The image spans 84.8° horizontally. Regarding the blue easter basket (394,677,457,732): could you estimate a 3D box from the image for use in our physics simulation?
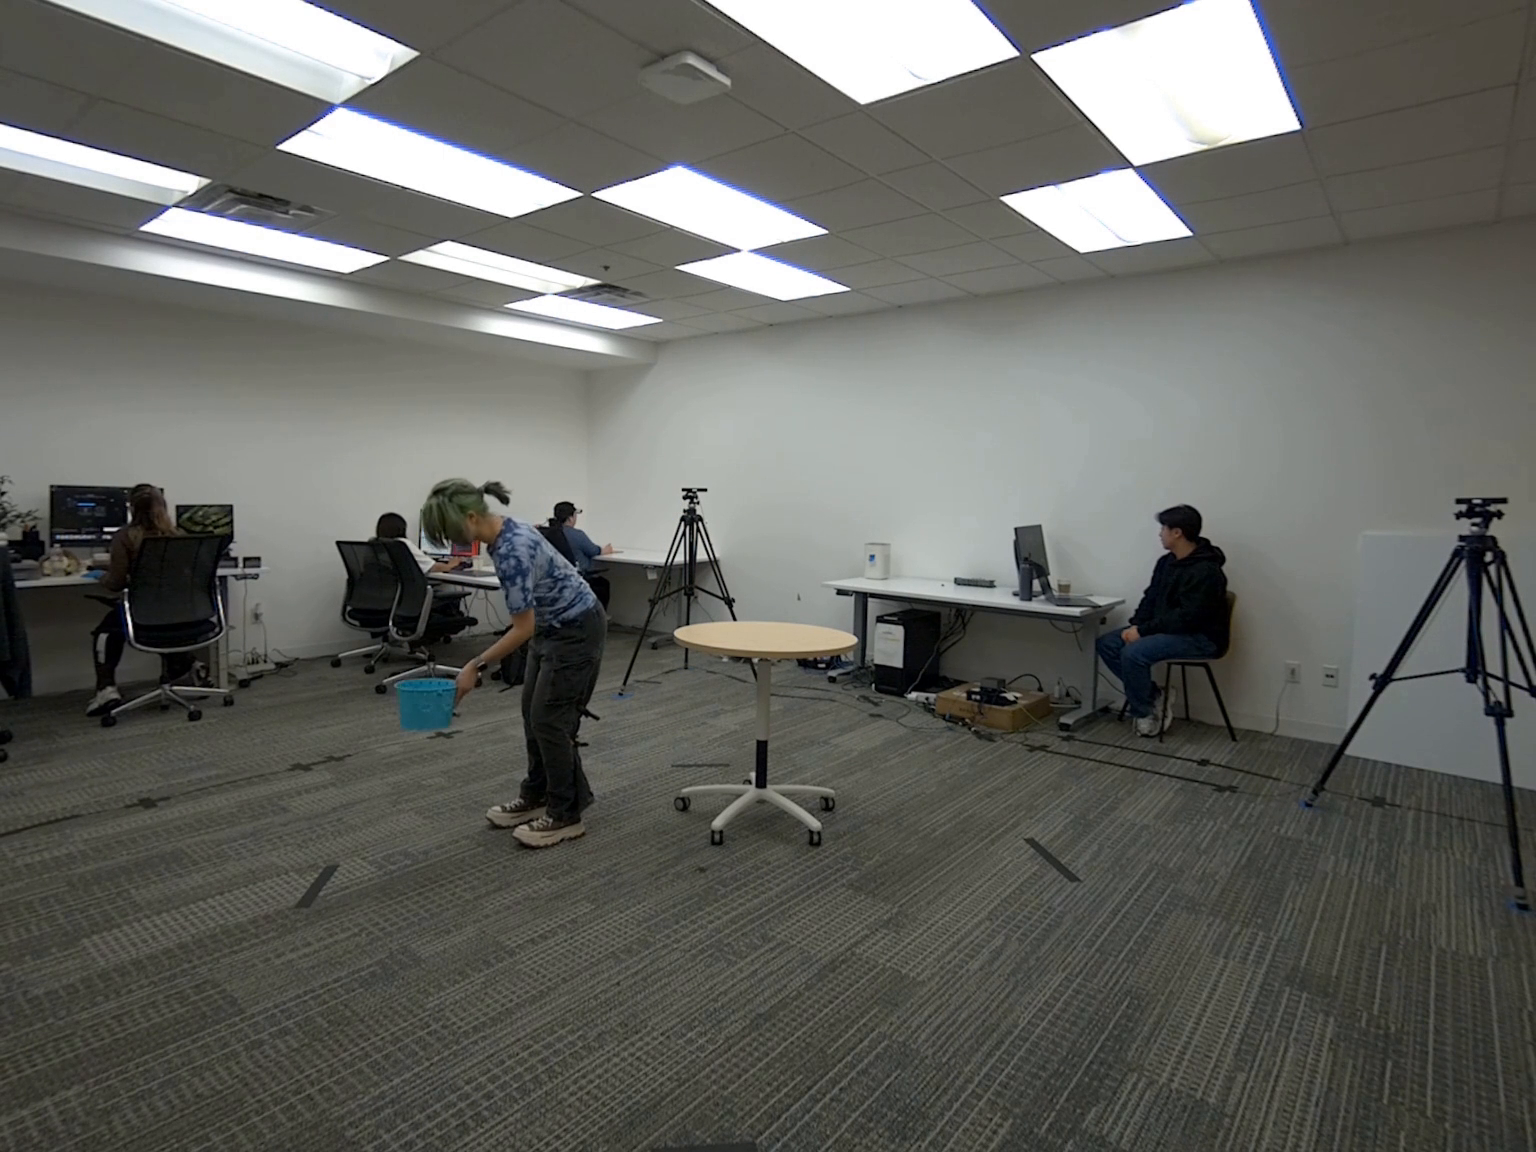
[{"bbox_3d":[-1.283,0.478,3.170,0.243,0.156,0.244,2,2,-2],"label":"blue easter basket"}]
